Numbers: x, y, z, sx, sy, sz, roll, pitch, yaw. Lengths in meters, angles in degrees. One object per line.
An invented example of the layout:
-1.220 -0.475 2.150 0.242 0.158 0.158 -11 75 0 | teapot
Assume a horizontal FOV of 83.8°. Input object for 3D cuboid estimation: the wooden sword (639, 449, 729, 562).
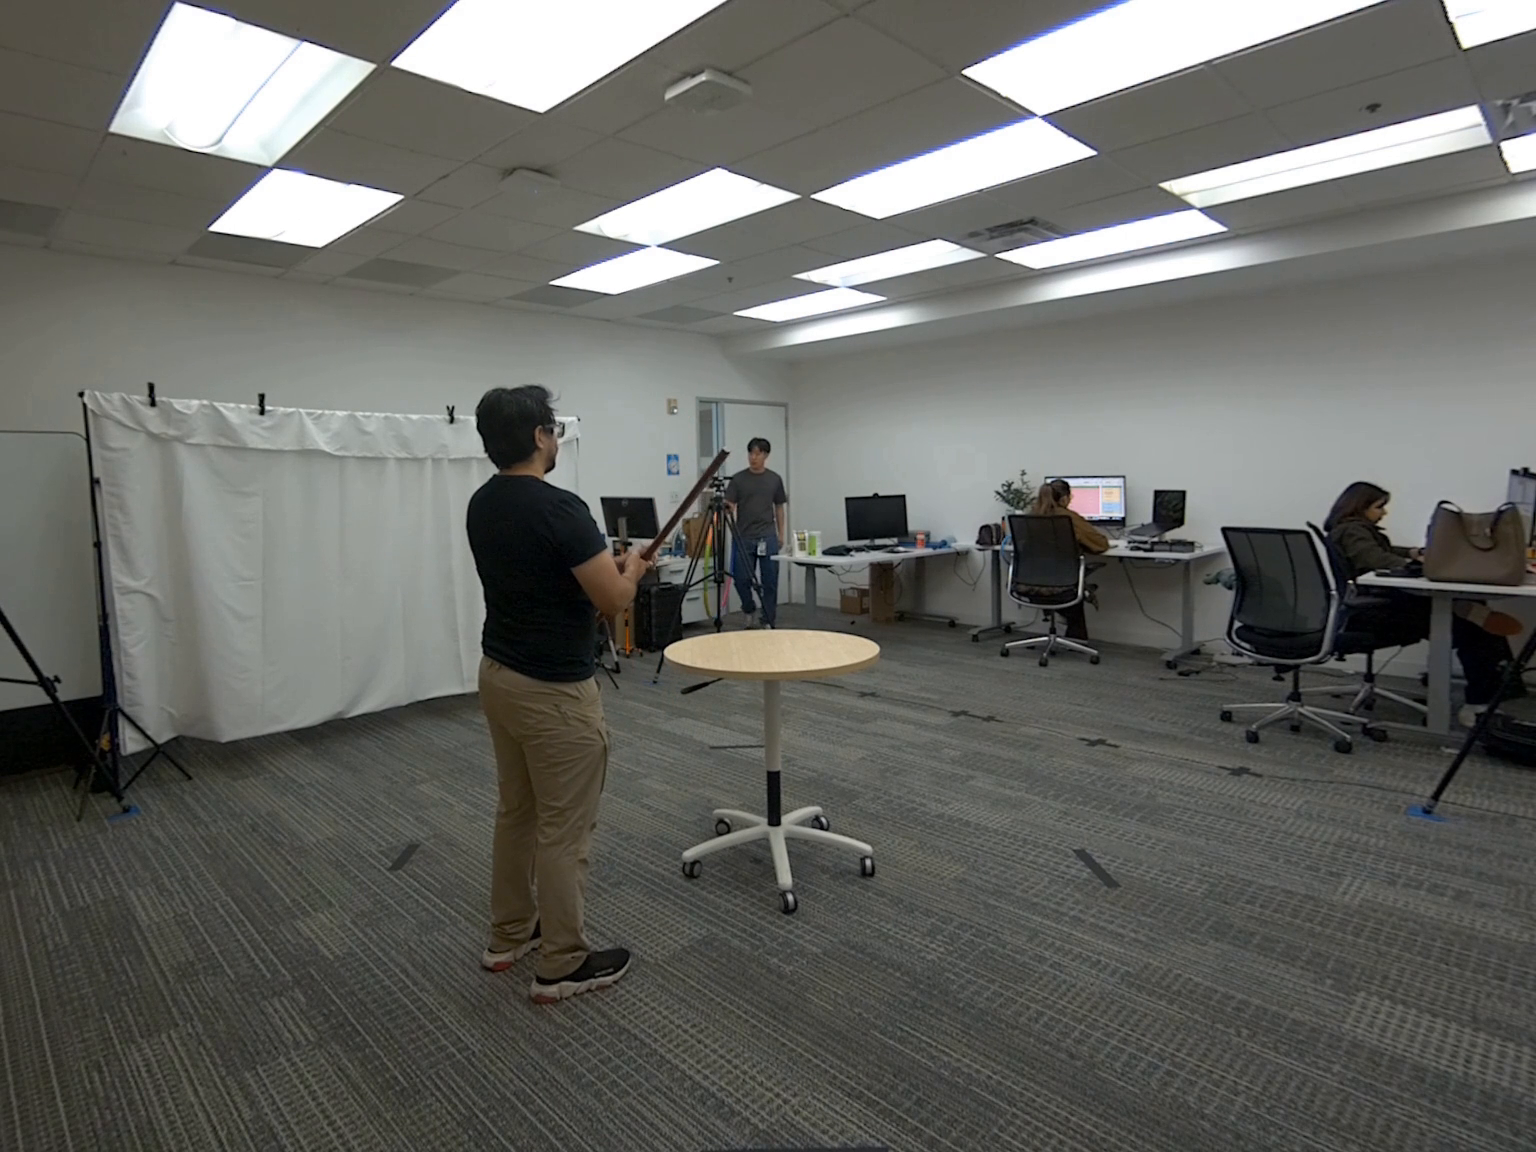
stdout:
-0.412 -0.016 2.624 0.050 0.025 1.022 -6 -39 -55 | wooden sword
